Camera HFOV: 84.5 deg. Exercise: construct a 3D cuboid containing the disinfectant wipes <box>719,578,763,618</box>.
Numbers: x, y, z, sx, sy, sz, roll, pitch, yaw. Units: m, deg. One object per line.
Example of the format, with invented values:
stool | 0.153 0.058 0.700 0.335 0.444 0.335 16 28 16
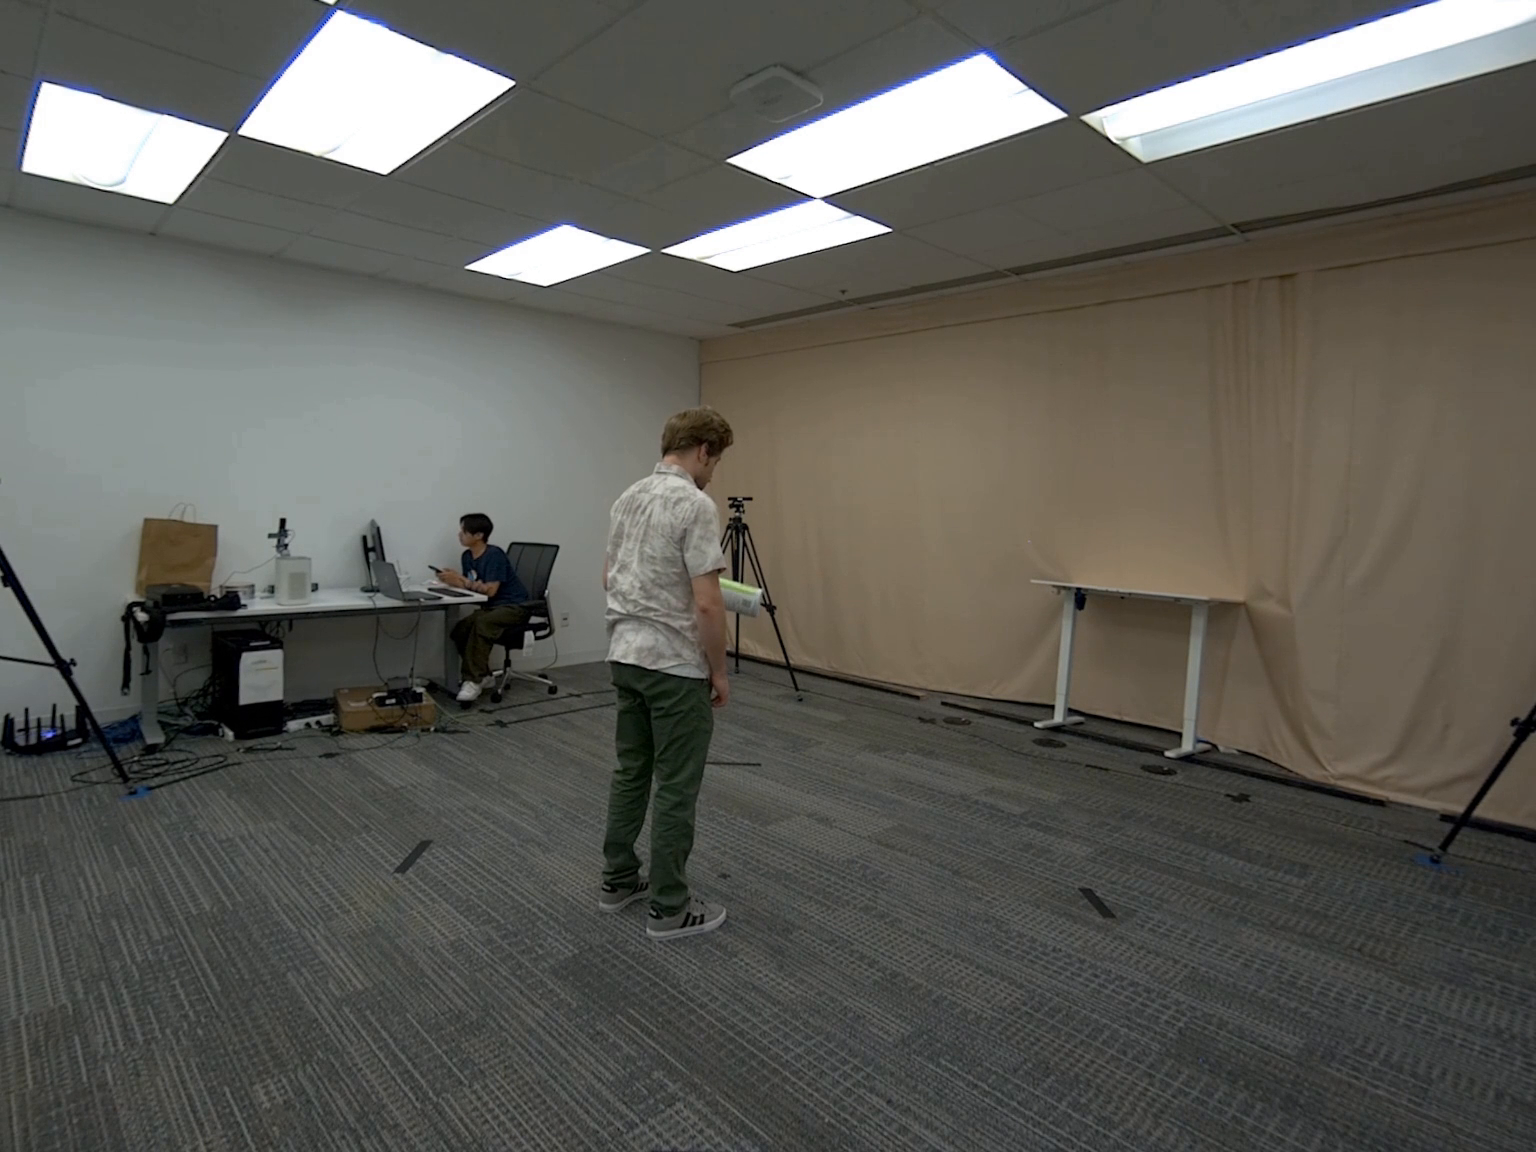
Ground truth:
disinfectant wipes | -0.138 0.076 3.058 0.219 0.117 0.117 15 6 7
